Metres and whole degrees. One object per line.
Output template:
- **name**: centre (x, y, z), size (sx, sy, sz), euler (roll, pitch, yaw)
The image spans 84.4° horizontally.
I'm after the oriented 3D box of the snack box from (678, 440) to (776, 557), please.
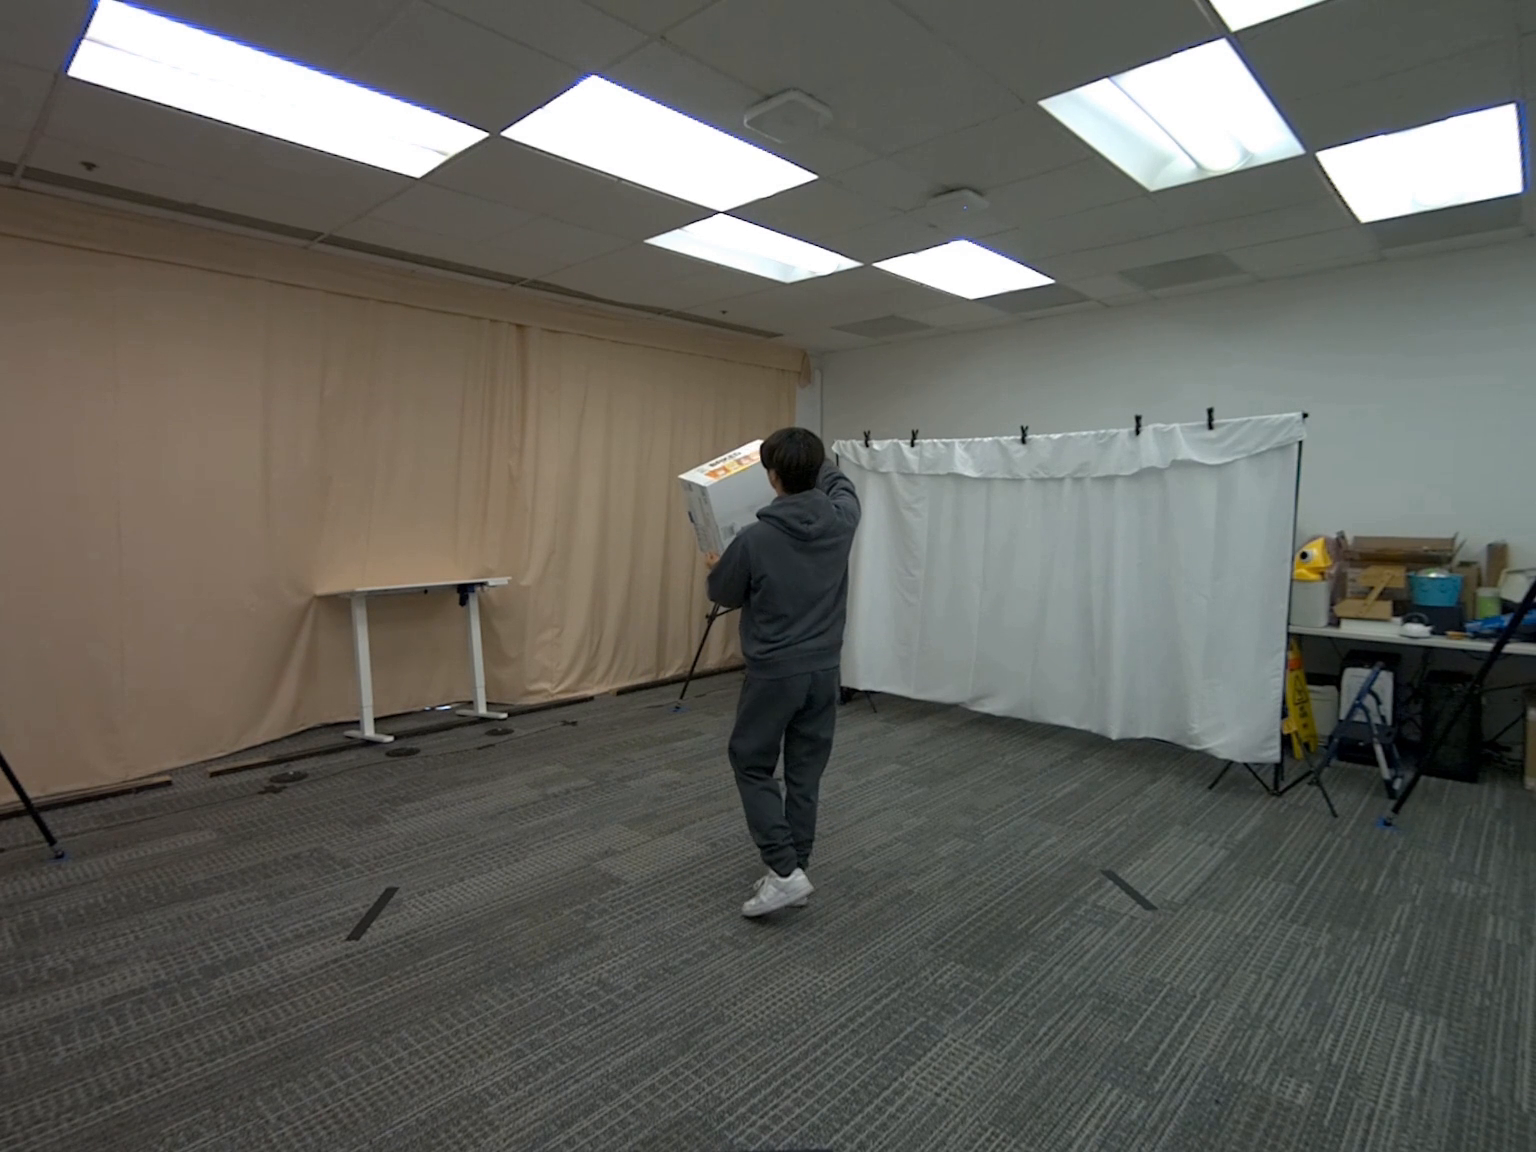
- **snack box**: centre (-0.098, -0.299, 3.350), size (0.399, 0.333, 0.213), euler (-28, 28, -26)
